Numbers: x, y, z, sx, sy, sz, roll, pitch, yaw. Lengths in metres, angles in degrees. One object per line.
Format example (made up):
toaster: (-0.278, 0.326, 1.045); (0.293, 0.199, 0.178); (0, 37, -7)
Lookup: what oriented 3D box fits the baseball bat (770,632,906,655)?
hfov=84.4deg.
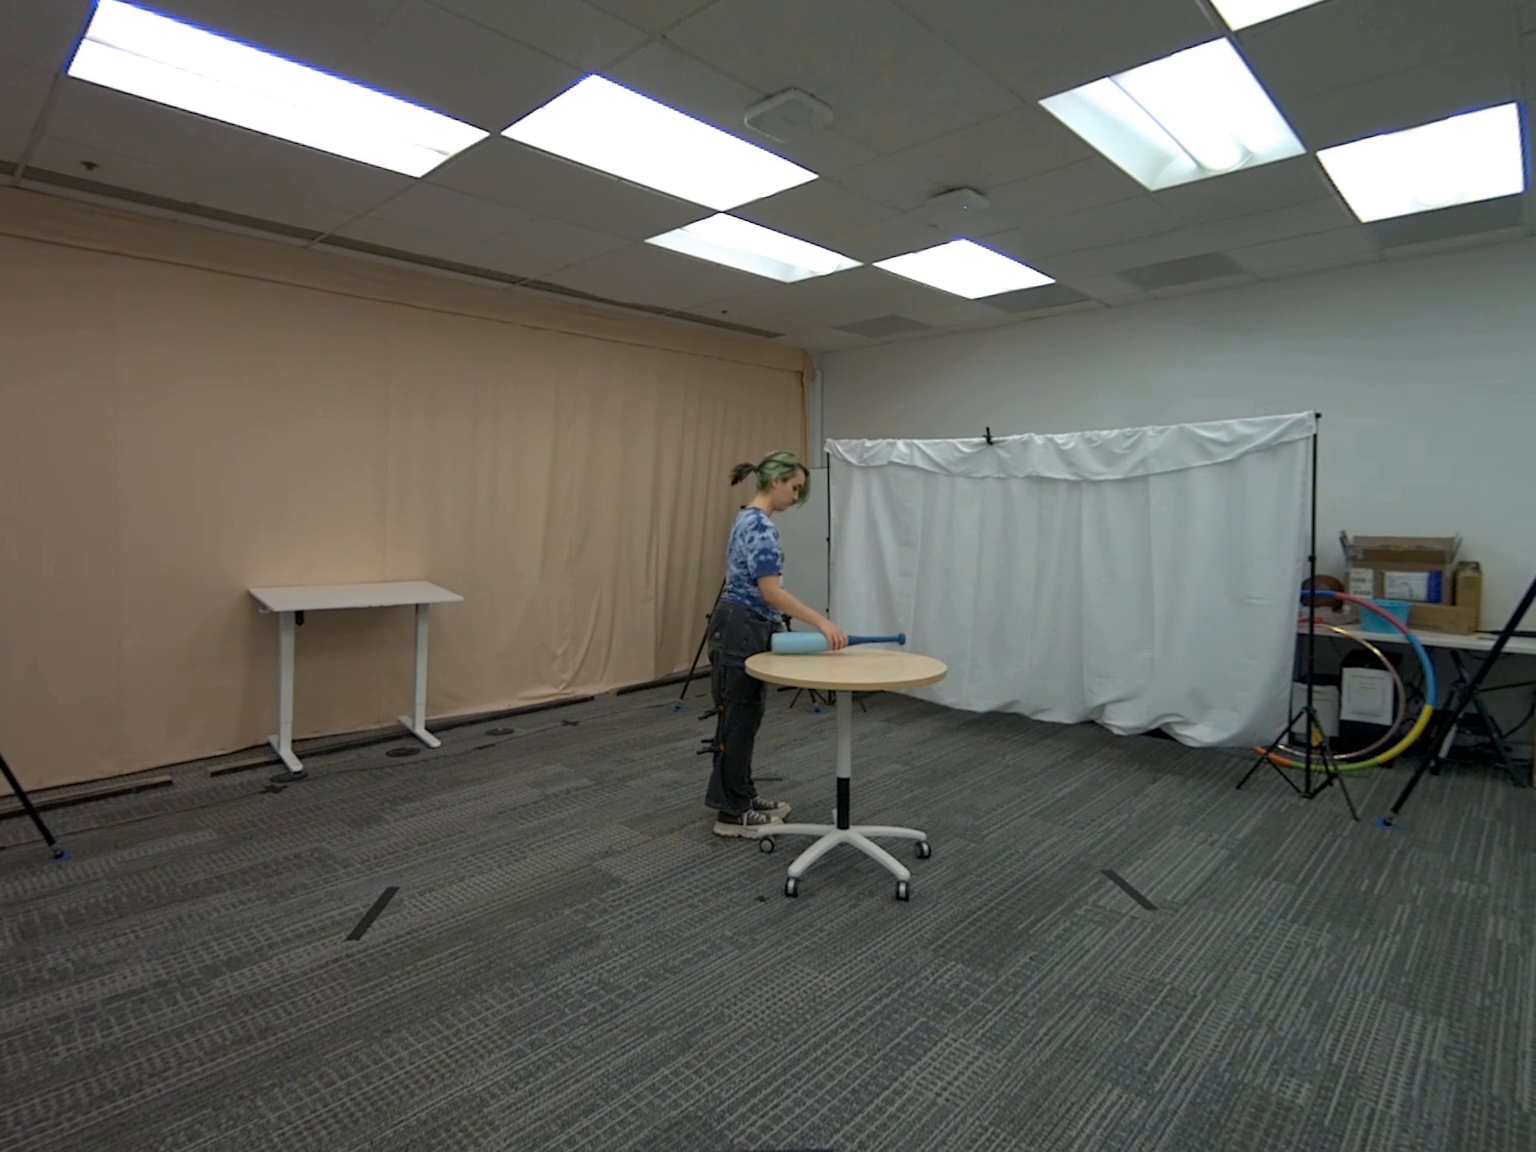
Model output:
baseball bat: (0.290, 0.263, 3.437); (0.544, 0.089, 0.089); (-1, 4, 3)
